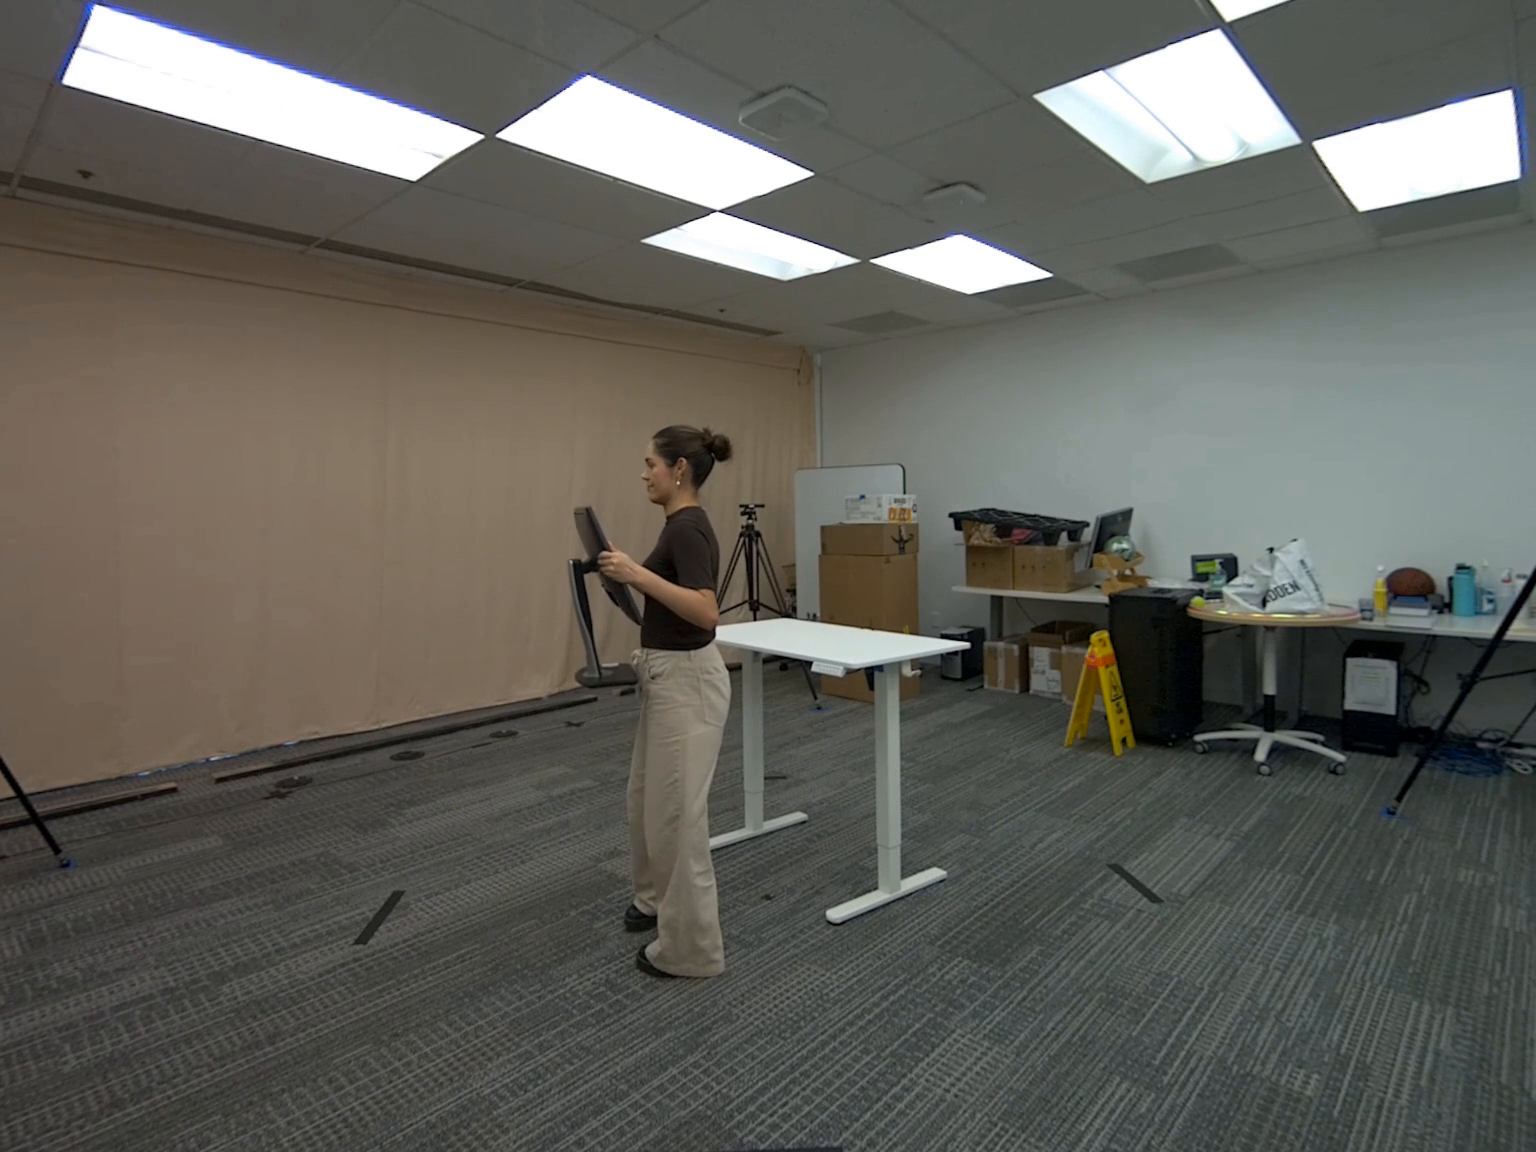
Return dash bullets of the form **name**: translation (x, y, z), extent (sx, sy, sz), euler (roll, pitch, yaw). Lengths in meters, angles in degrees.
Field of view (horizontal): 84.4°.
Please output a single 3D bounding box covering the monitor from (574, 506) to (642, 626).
- **monitor**: translation (-0.508, 0.056, 2.511), extent (0.184, 0.521, 0.549), euler (-9, 5, -18)
